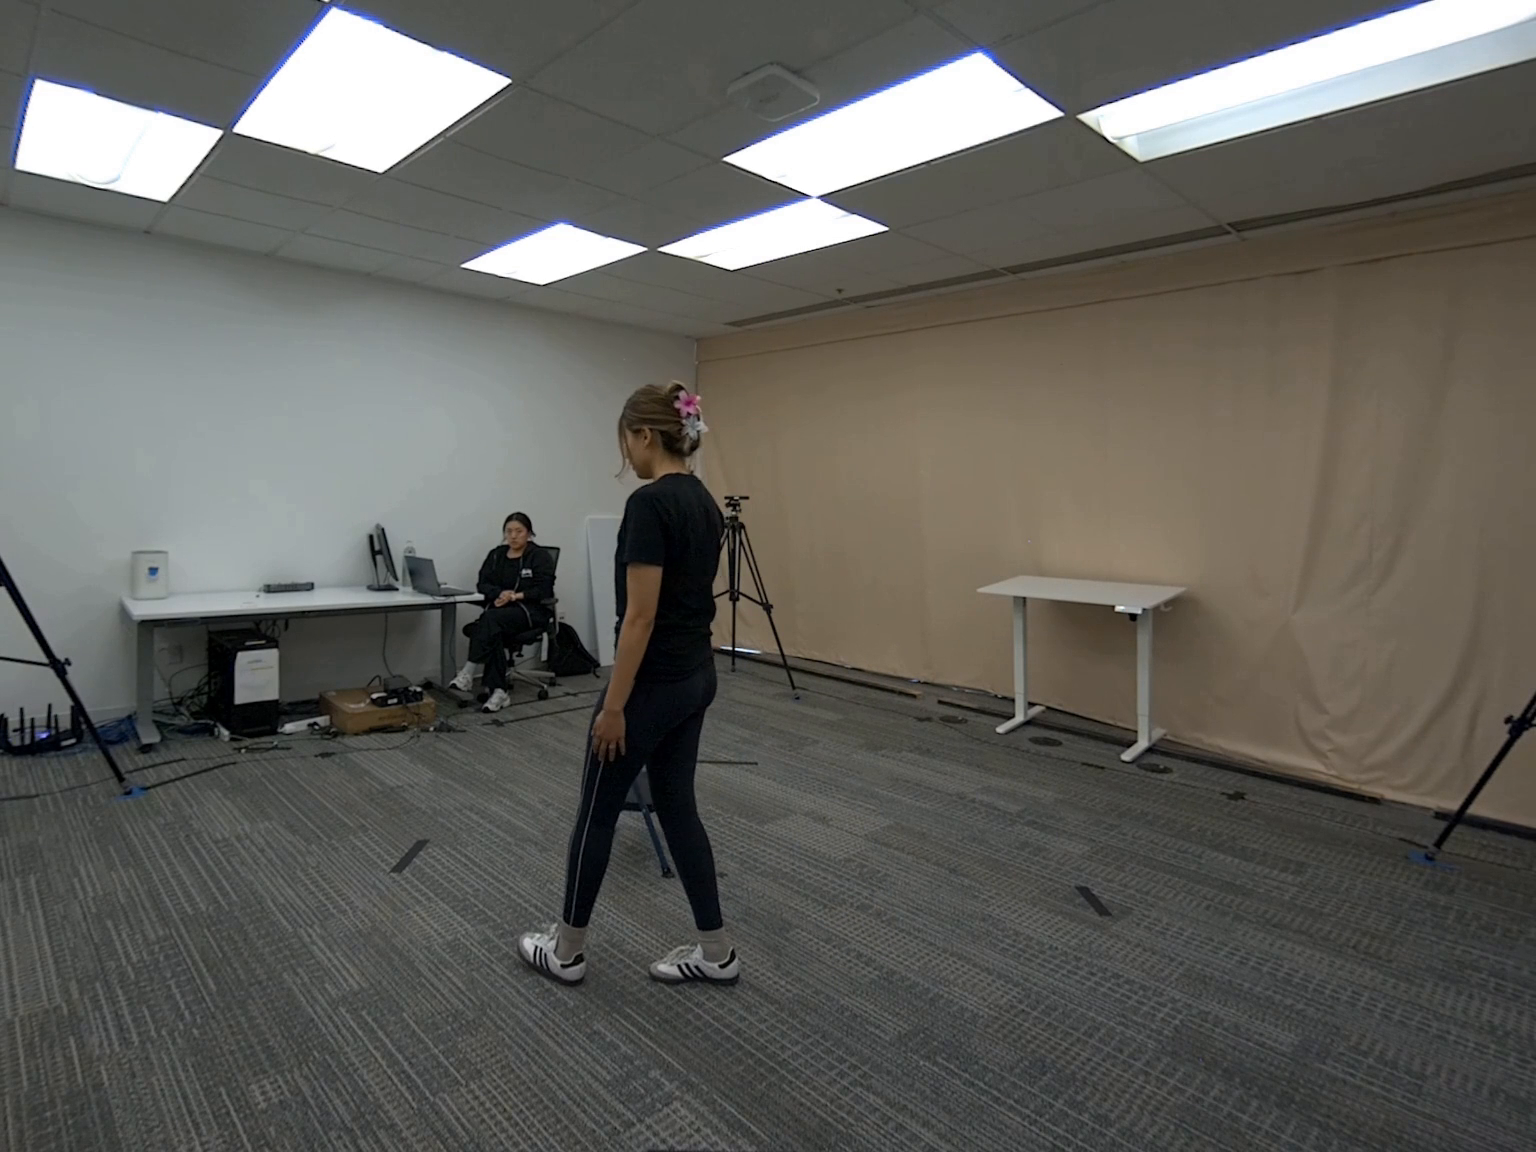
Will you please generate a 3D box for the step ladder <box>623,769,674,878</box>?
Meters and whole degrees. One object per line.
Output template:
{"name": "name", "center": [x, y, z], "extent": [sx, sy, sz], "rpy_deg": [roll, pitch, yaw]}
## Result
{"name": "step ladder", "center": [-0.504, 0.786, 3.283], "extent": [0.350, 0.605, 0.430], "rpy_deg": [3, 3, 2]}
